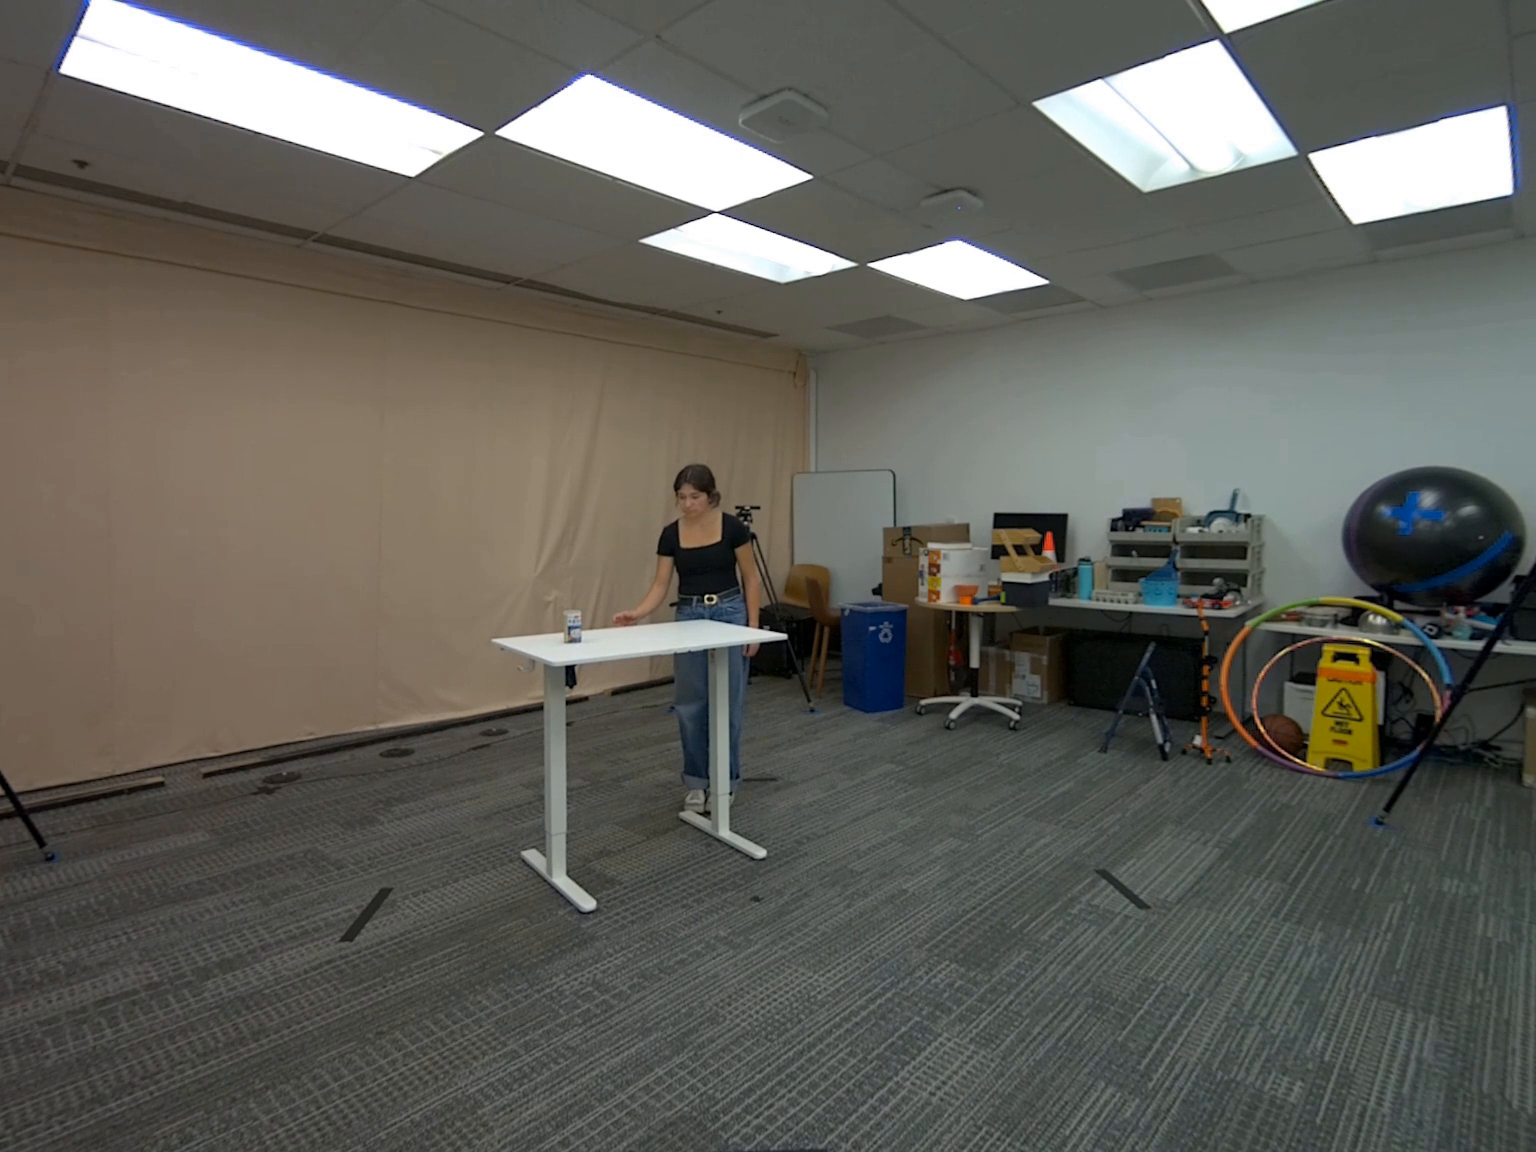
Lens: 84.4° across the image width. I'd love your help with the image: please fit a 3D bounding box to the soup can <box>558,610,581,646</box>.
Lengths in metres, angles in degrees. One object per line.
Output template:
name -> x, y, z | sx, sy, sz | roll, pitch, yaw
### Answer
soup can -> -0.744, 0.193, 3.169 | 0.067, 0.121, 0.067 | 1, 2, -2
